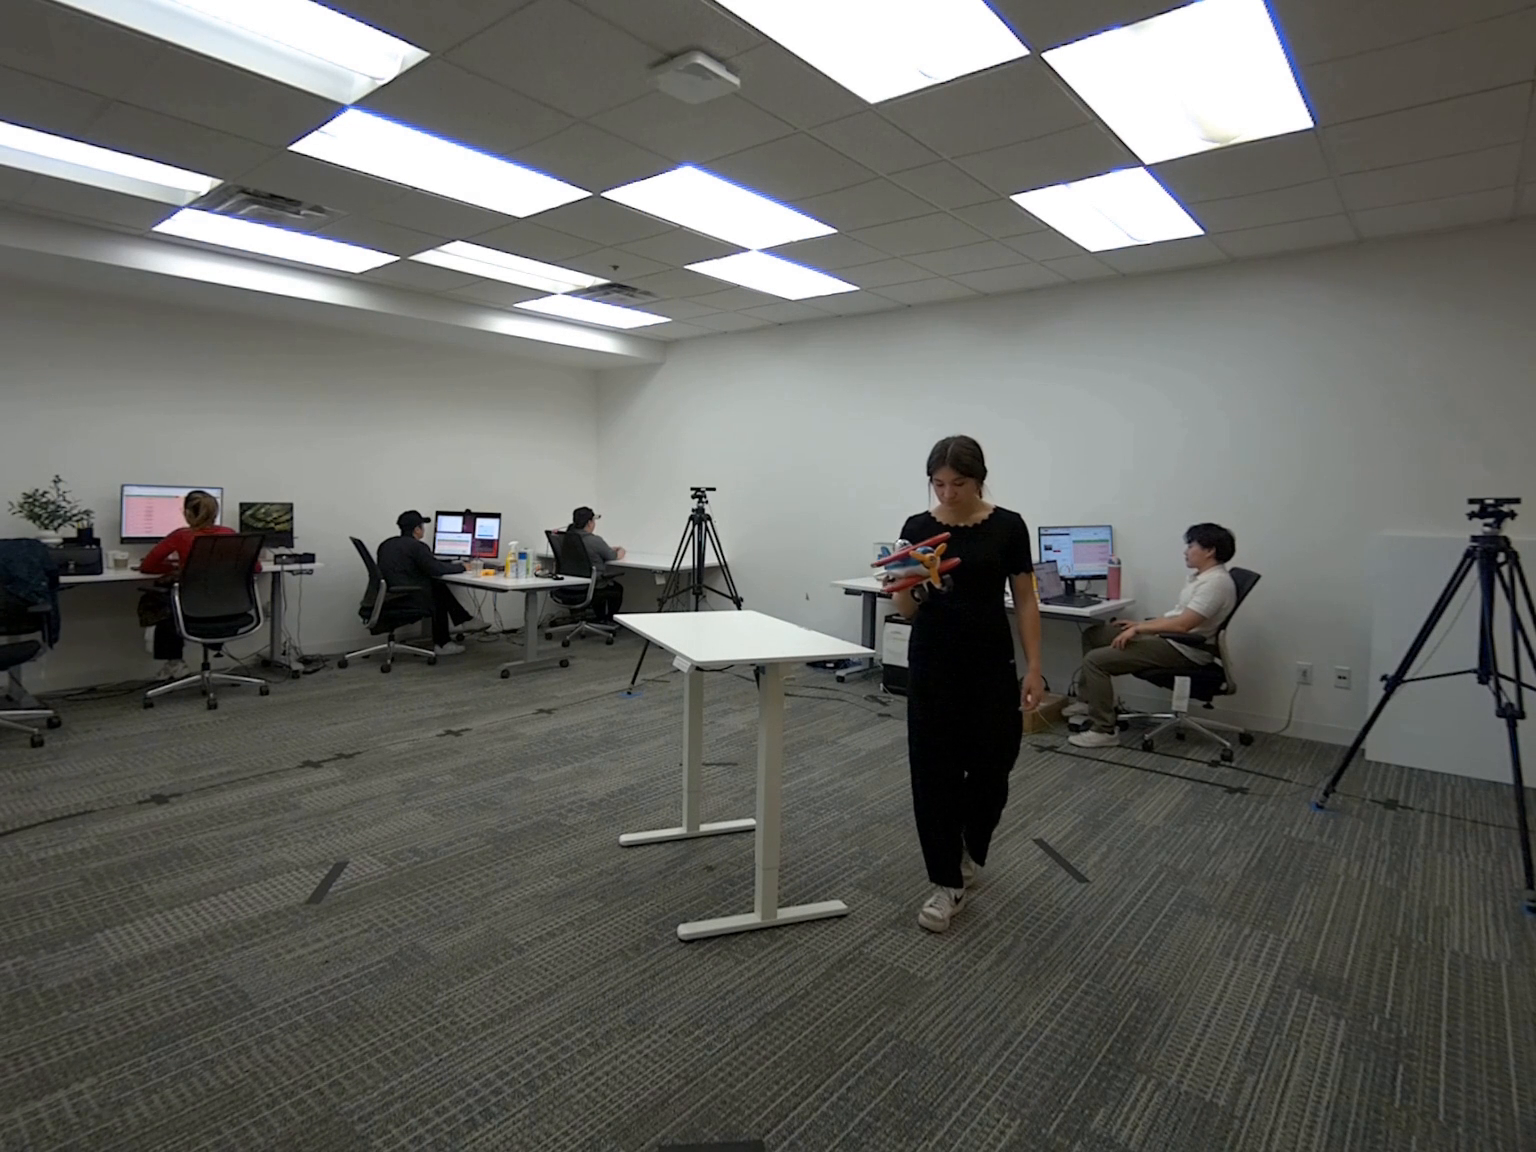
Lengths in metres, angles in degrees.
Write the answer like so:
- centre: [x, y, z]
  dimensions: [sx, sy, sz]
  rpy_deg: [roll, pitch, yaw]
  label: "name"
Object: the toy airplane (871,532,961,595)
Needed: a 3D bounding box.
- centre: [0.392, -0.019, 2.455]
  dimensions: [0.267, 0.154, 0.248]
  rpy_deg: [-2, 21, 42]
  label: "toy airplane"
